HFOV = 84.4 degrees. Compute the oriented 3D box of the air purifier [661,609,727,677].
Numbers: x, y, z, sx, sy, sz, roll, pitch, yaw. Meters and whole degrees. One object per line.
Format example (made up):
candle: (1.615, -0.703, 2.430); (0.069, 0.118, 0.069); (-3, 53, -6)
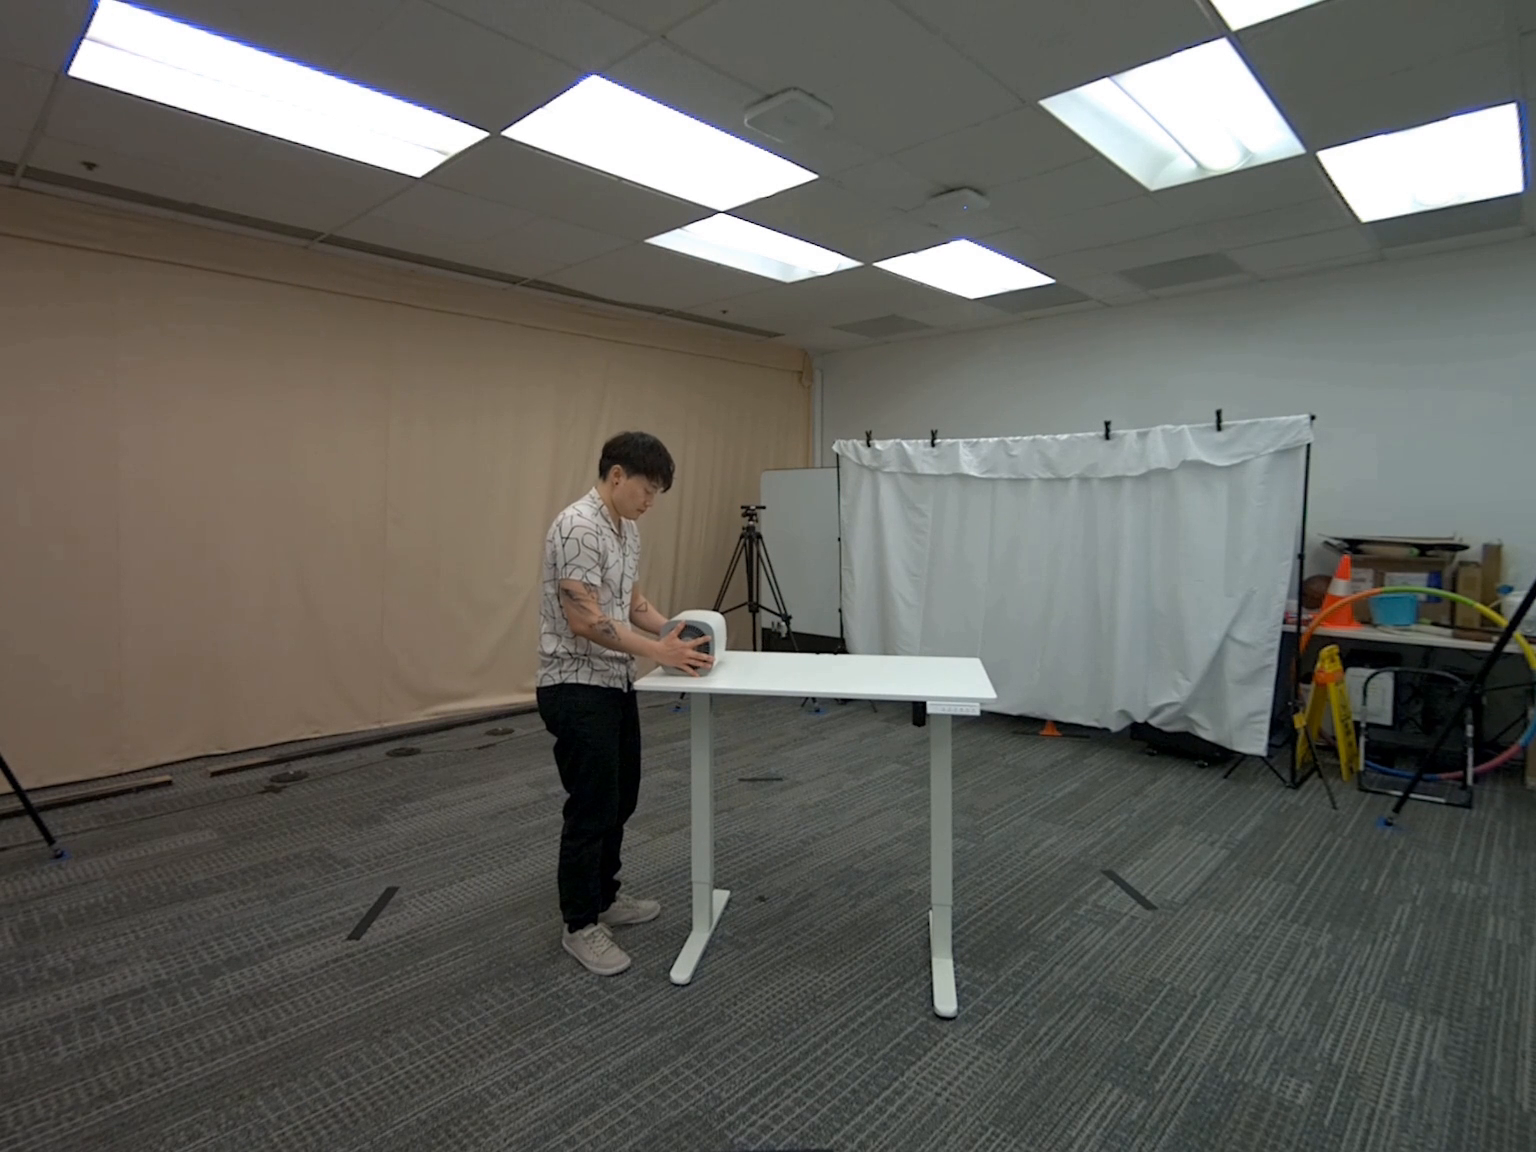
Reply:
air purifier: (-0.228, 0.204, 2.641); (0.173, 0.171, 0.264); (1, 3, 5)
